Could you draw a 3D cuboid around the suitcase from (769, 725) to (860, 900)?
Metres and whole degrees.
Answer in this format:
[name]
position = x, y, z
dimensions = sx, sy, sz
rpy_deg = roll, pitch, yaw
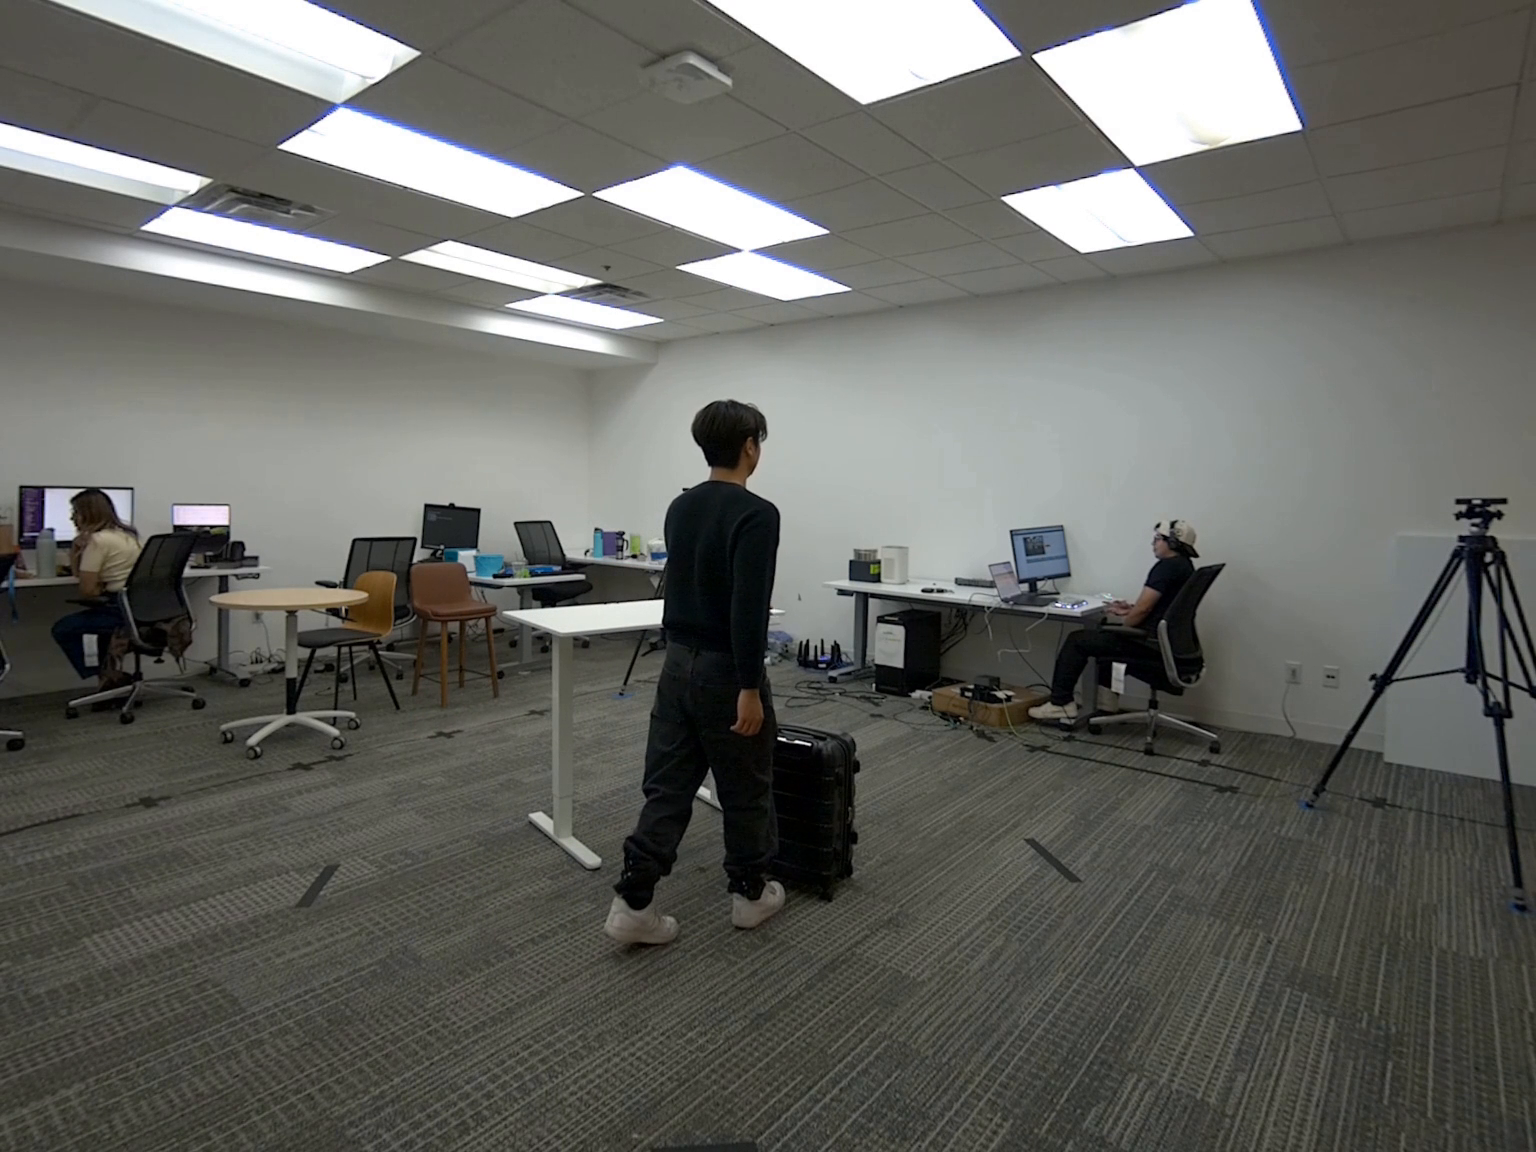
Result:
[suitcase]
position = 0.111, 0.804, 3.032
dimensions = 0.386, 0.548, 0.242
rpy_deg = 3, 4, 27
